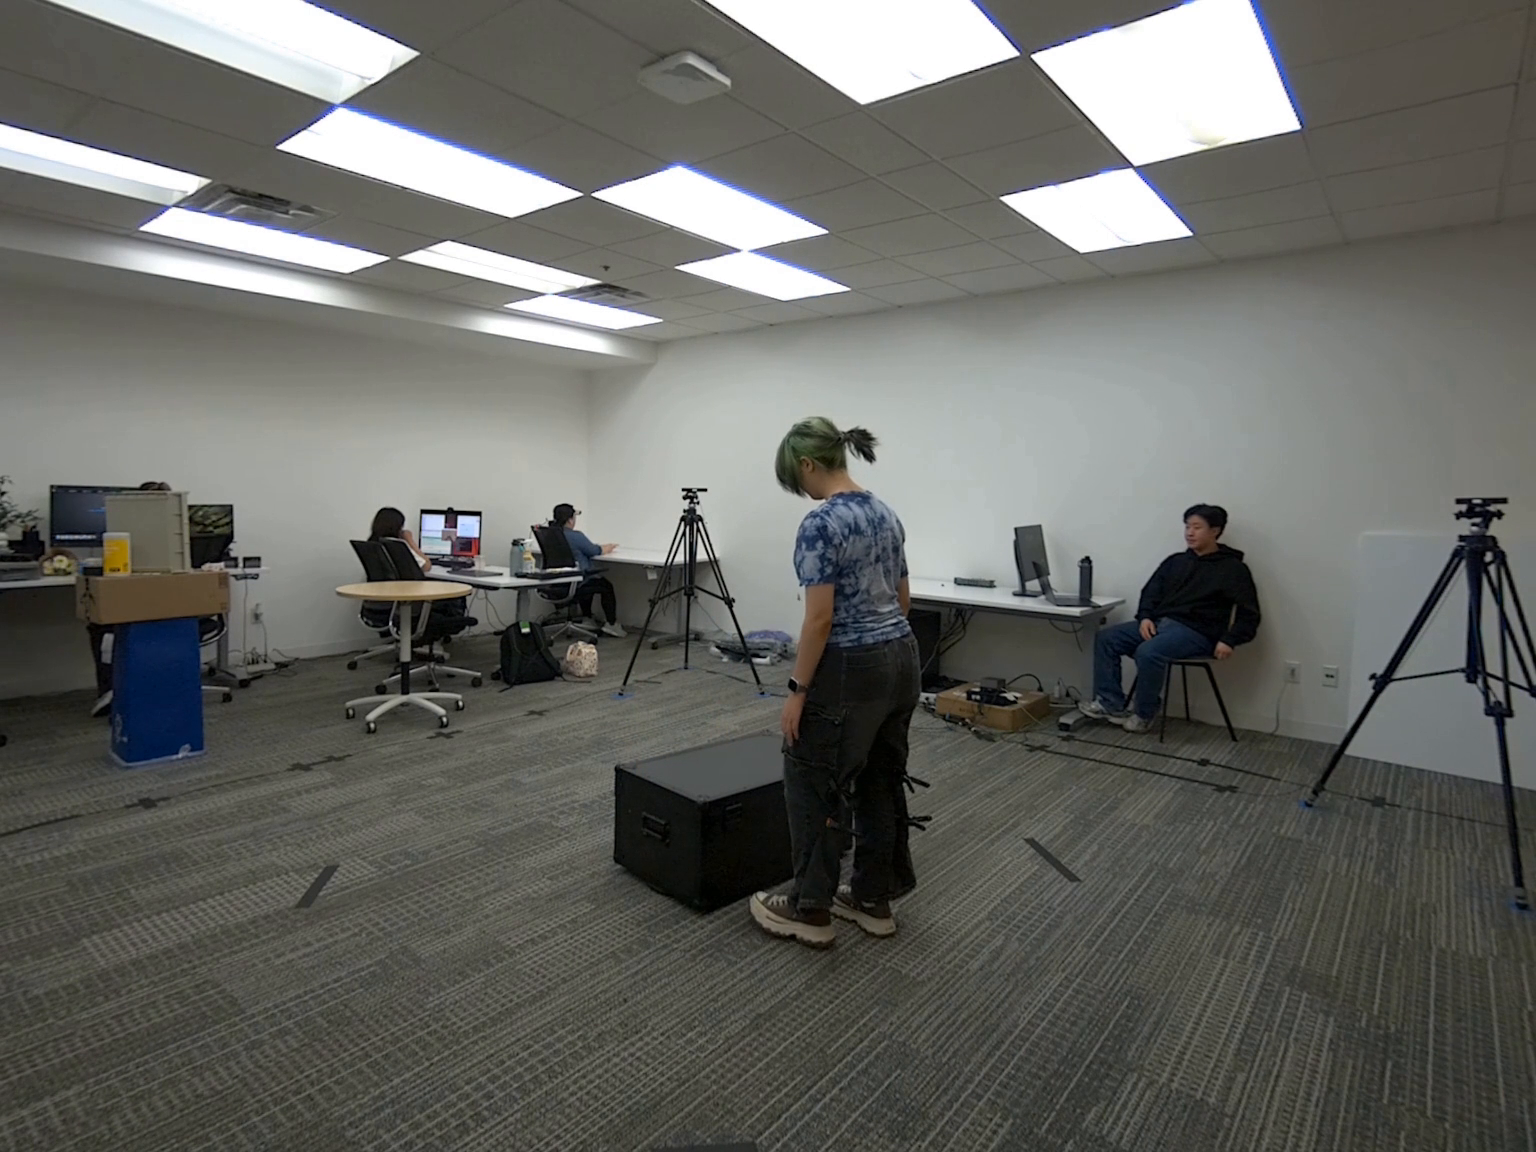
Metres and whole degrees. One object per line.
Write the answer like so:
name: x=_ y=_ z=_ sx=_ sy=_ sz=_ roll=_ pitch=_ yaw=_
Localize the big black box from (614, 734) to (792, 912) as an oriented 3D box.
big black box: x=-0.102 y=0.873 z=3.192 sx=0.836 sy=0.395 sz=0.539 roll=-5 pitch=7 yaw=-44
